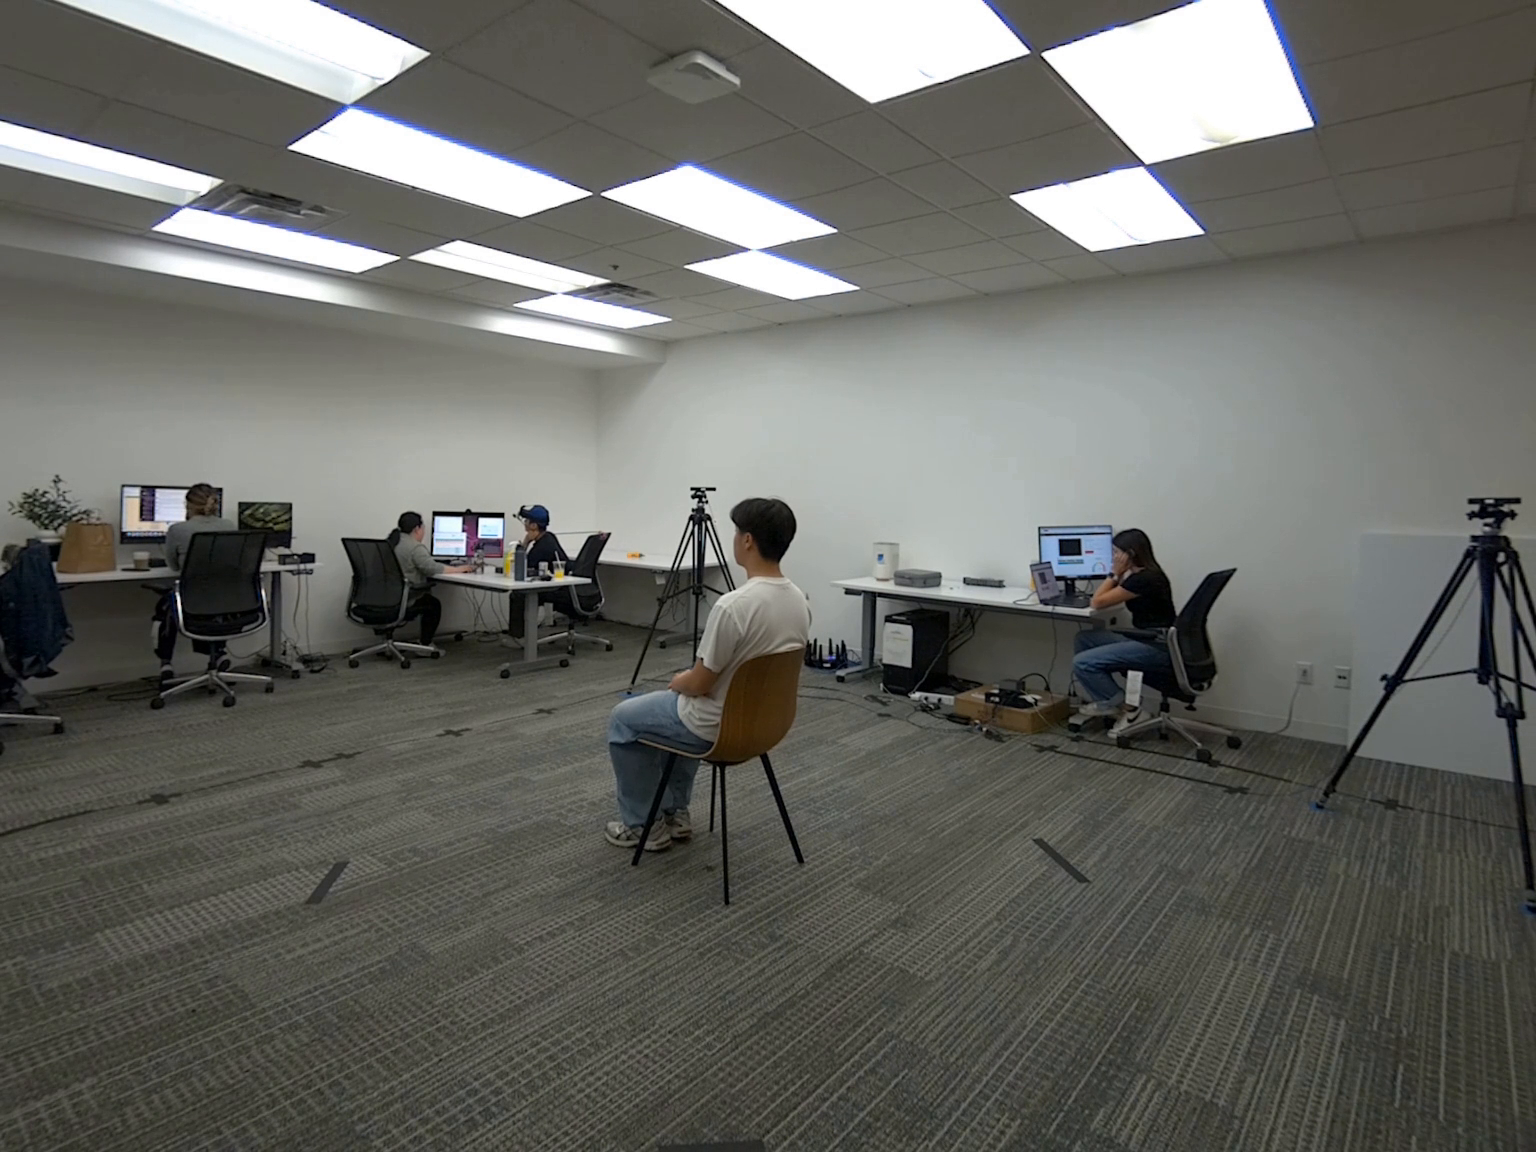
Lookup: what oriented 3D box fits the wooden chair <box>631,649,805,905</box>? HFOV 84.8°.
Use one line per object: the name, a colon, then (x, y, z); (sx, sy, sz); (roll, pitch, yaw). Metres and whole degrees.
wooden chair: (-0.182, 0.638, 3.118); (0.542, 0.873, 0.464); (10, 7, 38)
